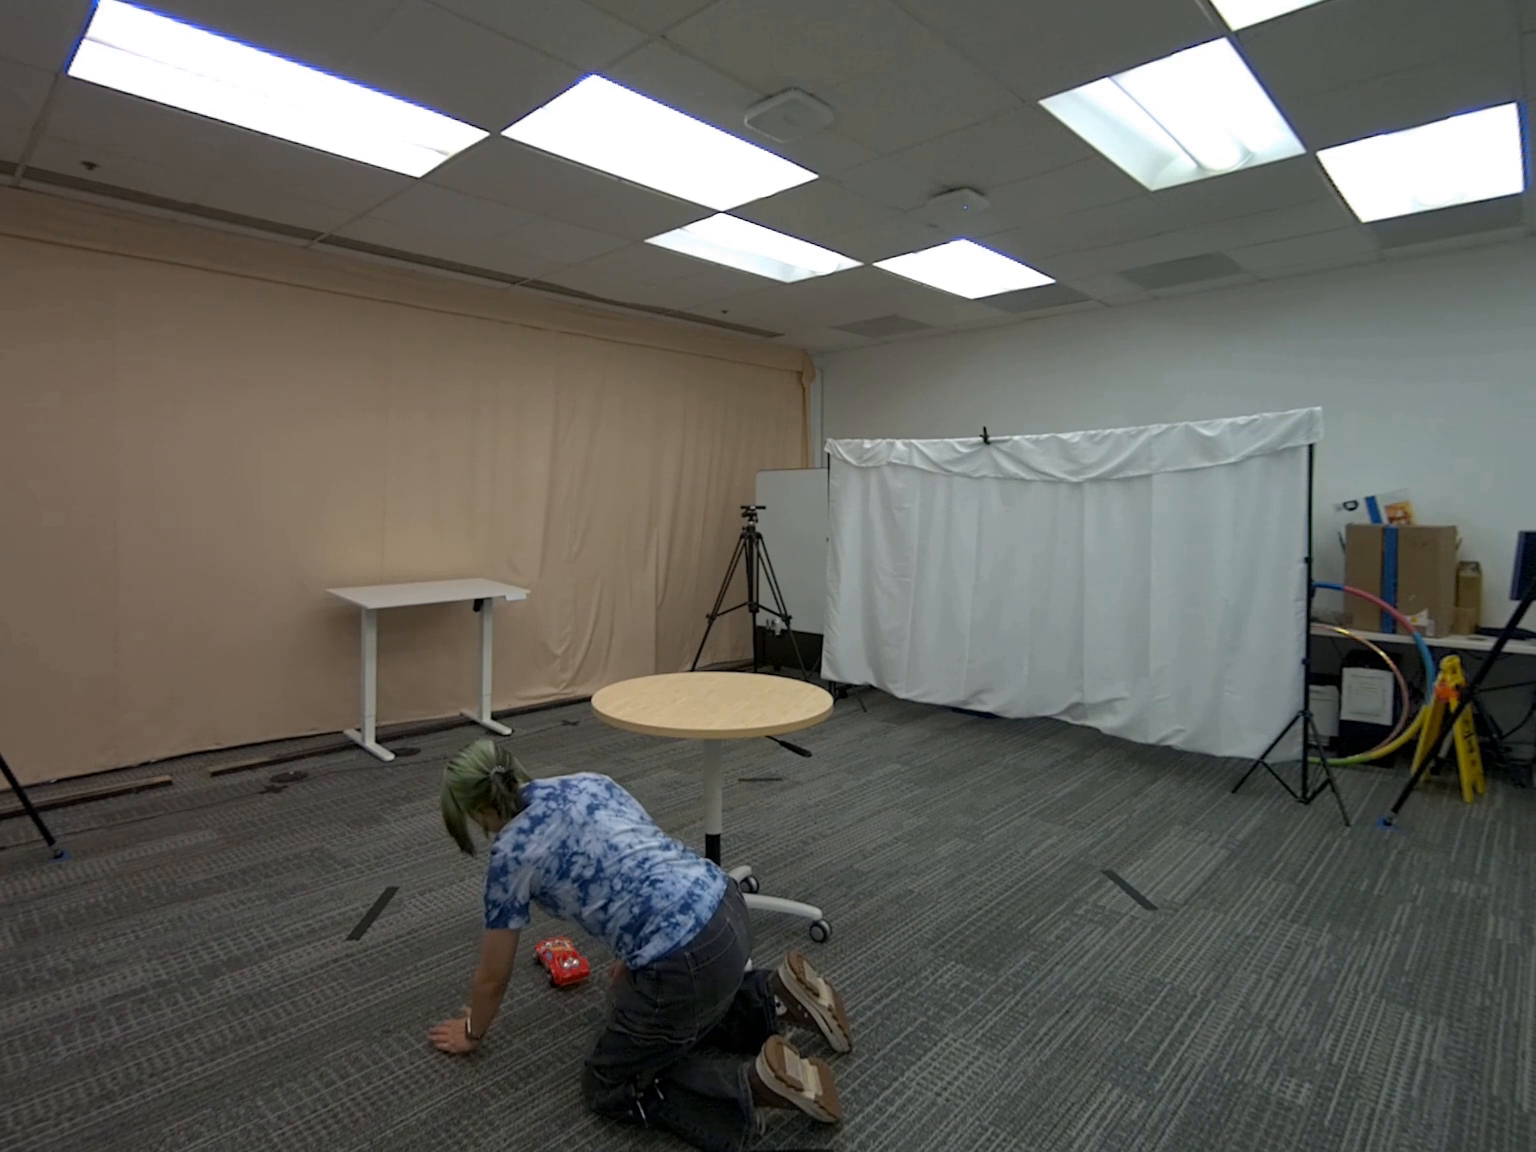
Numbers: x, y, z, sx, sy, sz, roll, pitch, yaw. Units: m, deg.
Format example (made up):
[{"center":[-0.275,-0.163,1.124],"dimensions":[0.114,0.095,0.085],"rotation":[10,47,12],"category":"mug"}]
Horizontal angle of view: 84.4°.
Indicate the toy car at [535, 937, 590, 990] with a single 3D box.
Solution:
[{"center":[-0.617,1.160,2.511],"dimensions":[0.127,0.083,0.260],"rotation":[-4,-5,-31],"category":"toy car"}]
